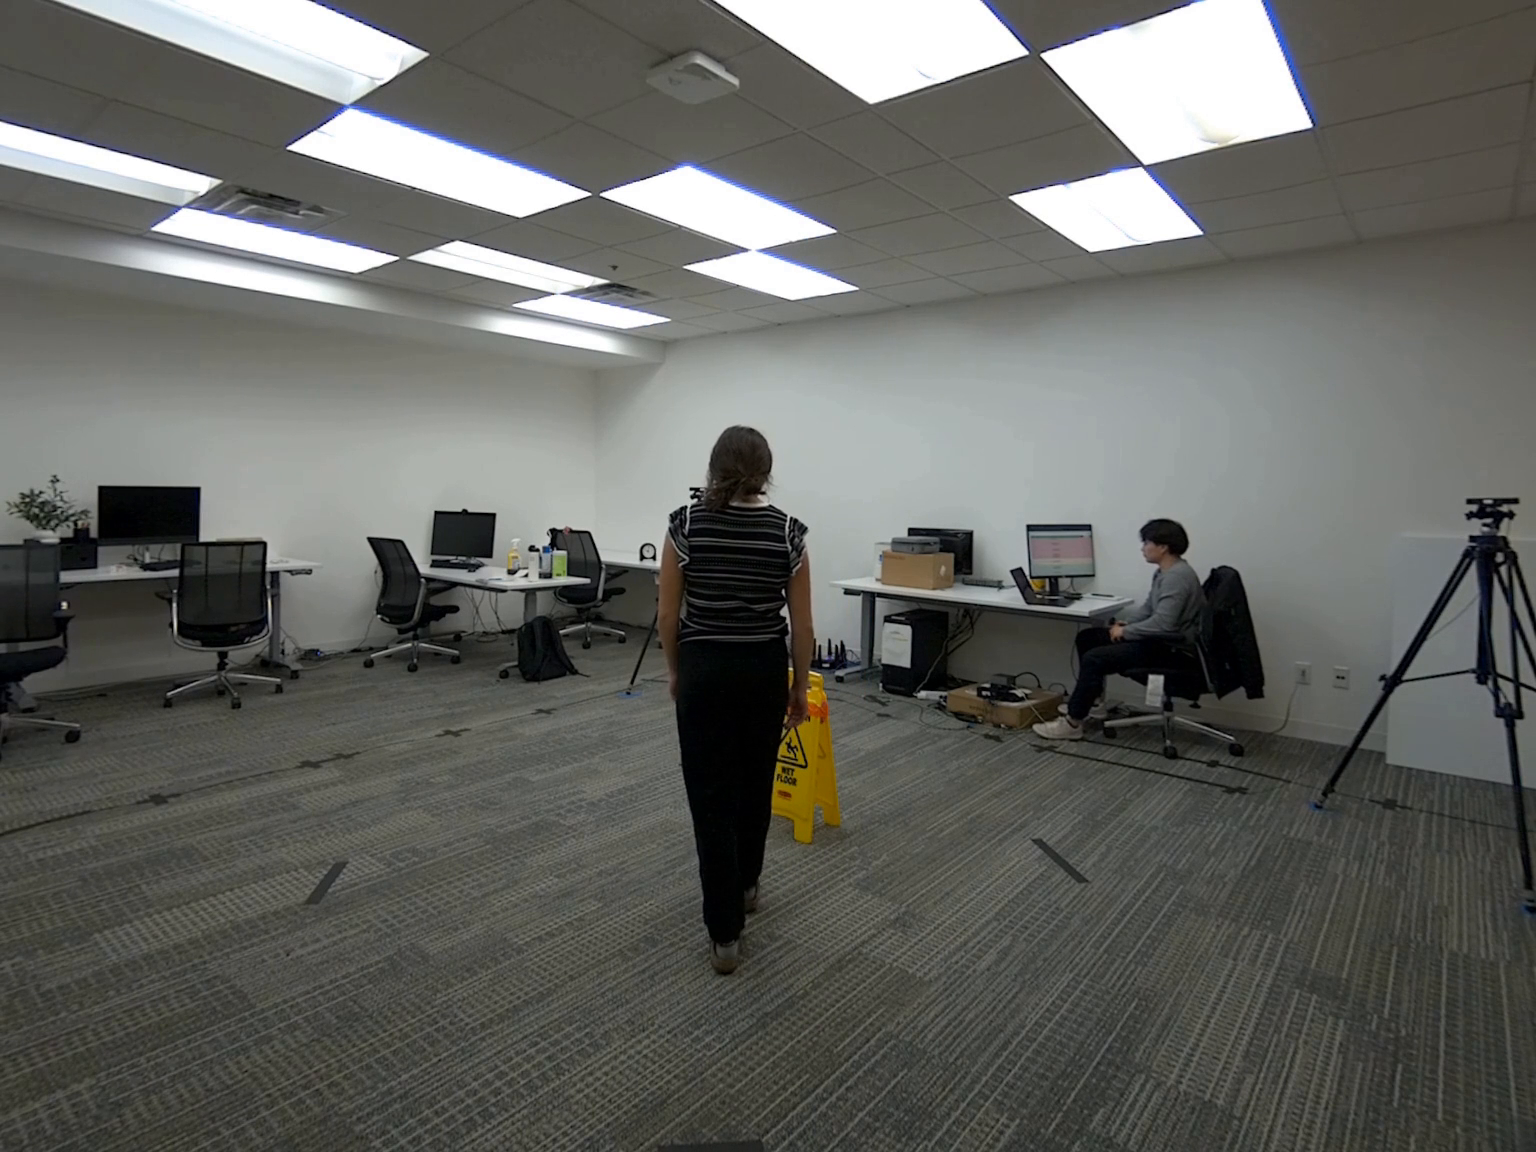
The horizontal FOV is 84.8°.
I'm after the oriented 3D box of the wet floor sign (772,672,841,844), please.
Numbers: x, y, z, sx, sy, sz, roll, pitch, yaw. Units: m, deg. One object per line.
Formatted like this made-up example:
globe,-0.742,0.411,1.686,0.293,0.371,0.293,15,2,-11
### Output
wet floor sign,0.121,0.711,3.512,0.291,0.645,0.281,3,2,36
